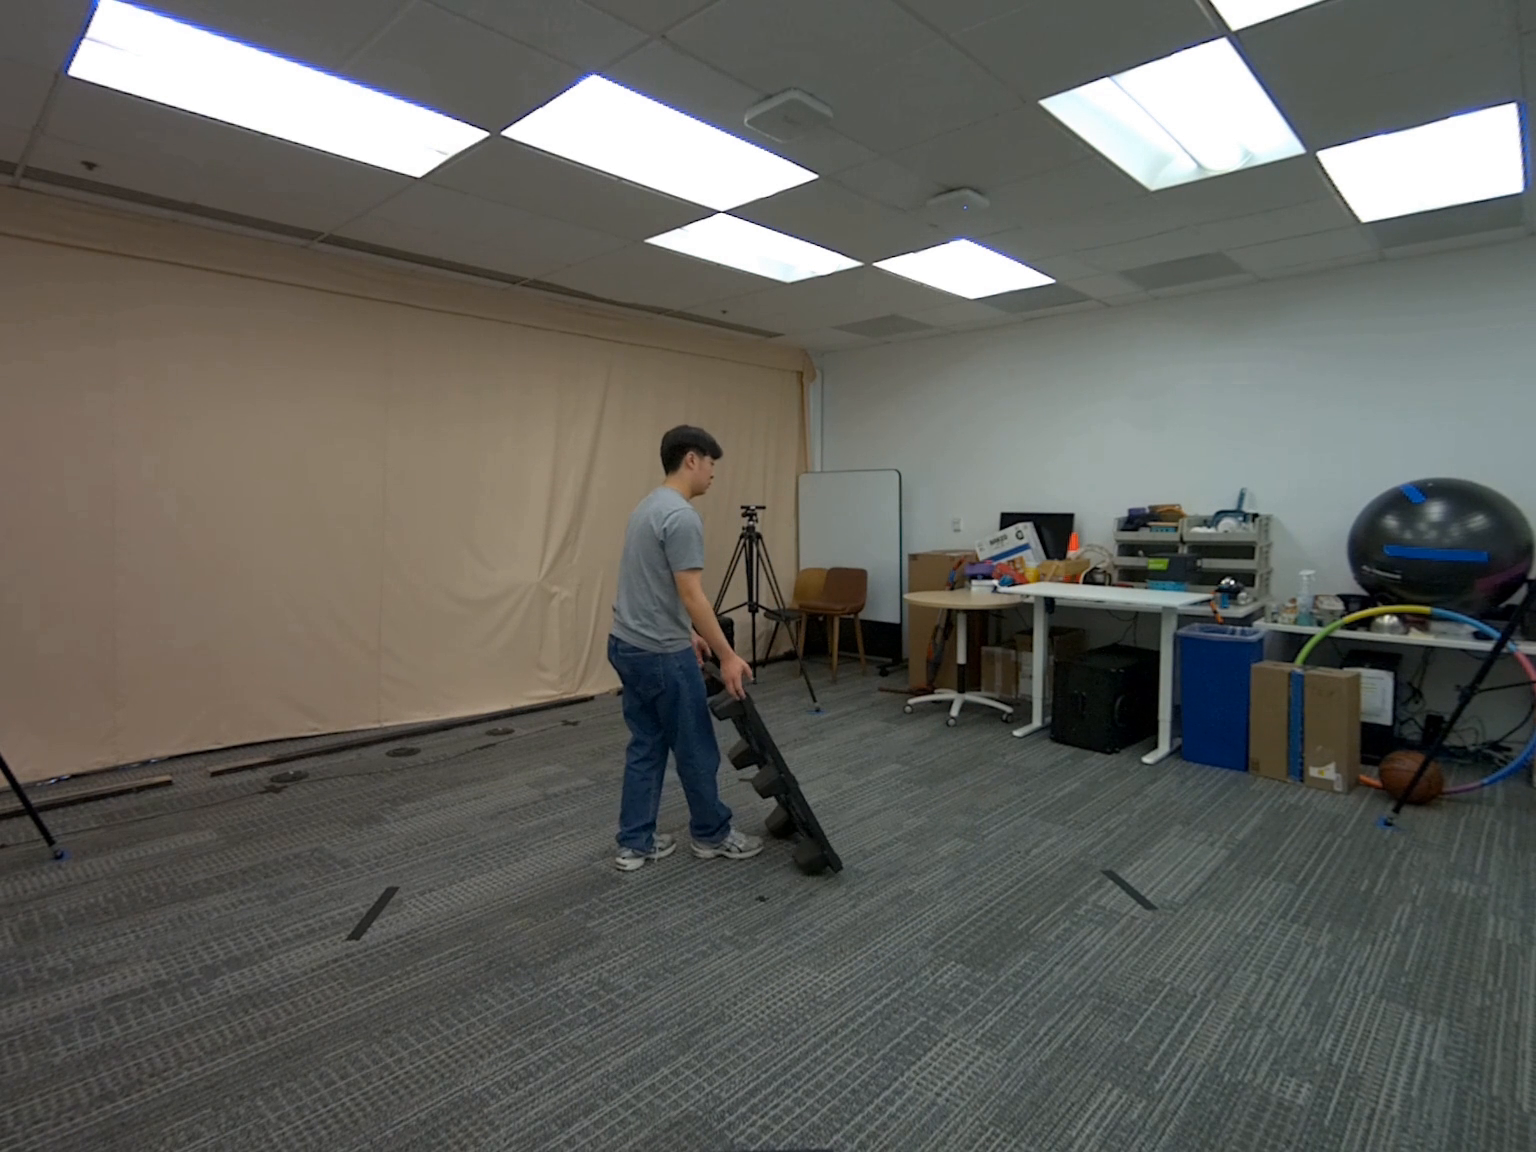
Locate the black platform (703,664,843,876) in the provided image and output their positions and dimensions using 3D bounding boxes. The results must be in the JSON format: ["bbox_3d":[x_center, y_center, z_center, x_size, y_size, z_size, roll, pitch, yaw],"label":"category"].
[{"bbox_3d":[-0.035,0.763,3.338,0.142,0.799,0.614,-29,8,-12],"label":"black platform"}]
